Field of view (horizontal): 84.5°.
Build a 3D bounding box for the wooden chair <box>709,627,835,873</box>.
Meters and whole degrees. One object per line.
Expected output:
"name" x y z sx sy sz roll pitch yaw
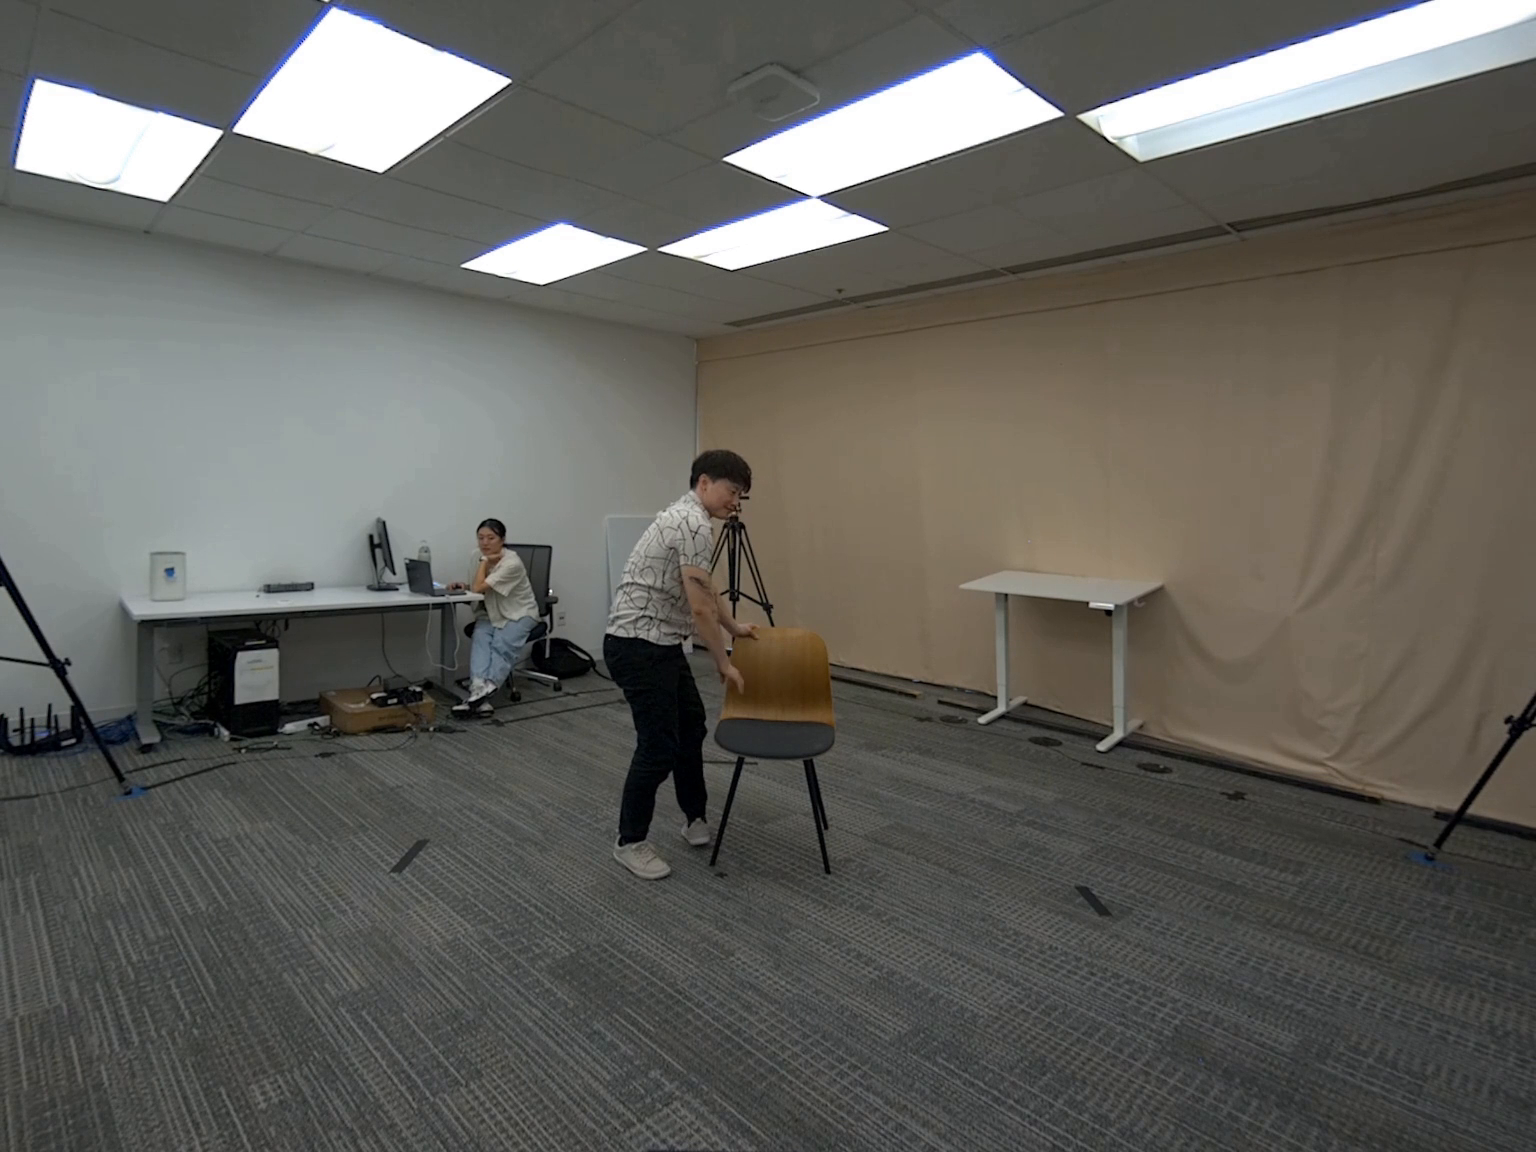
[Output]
"wooden chair" 0.023 0.658 3.342 0.480 0.878 0.521 3 -1 4
